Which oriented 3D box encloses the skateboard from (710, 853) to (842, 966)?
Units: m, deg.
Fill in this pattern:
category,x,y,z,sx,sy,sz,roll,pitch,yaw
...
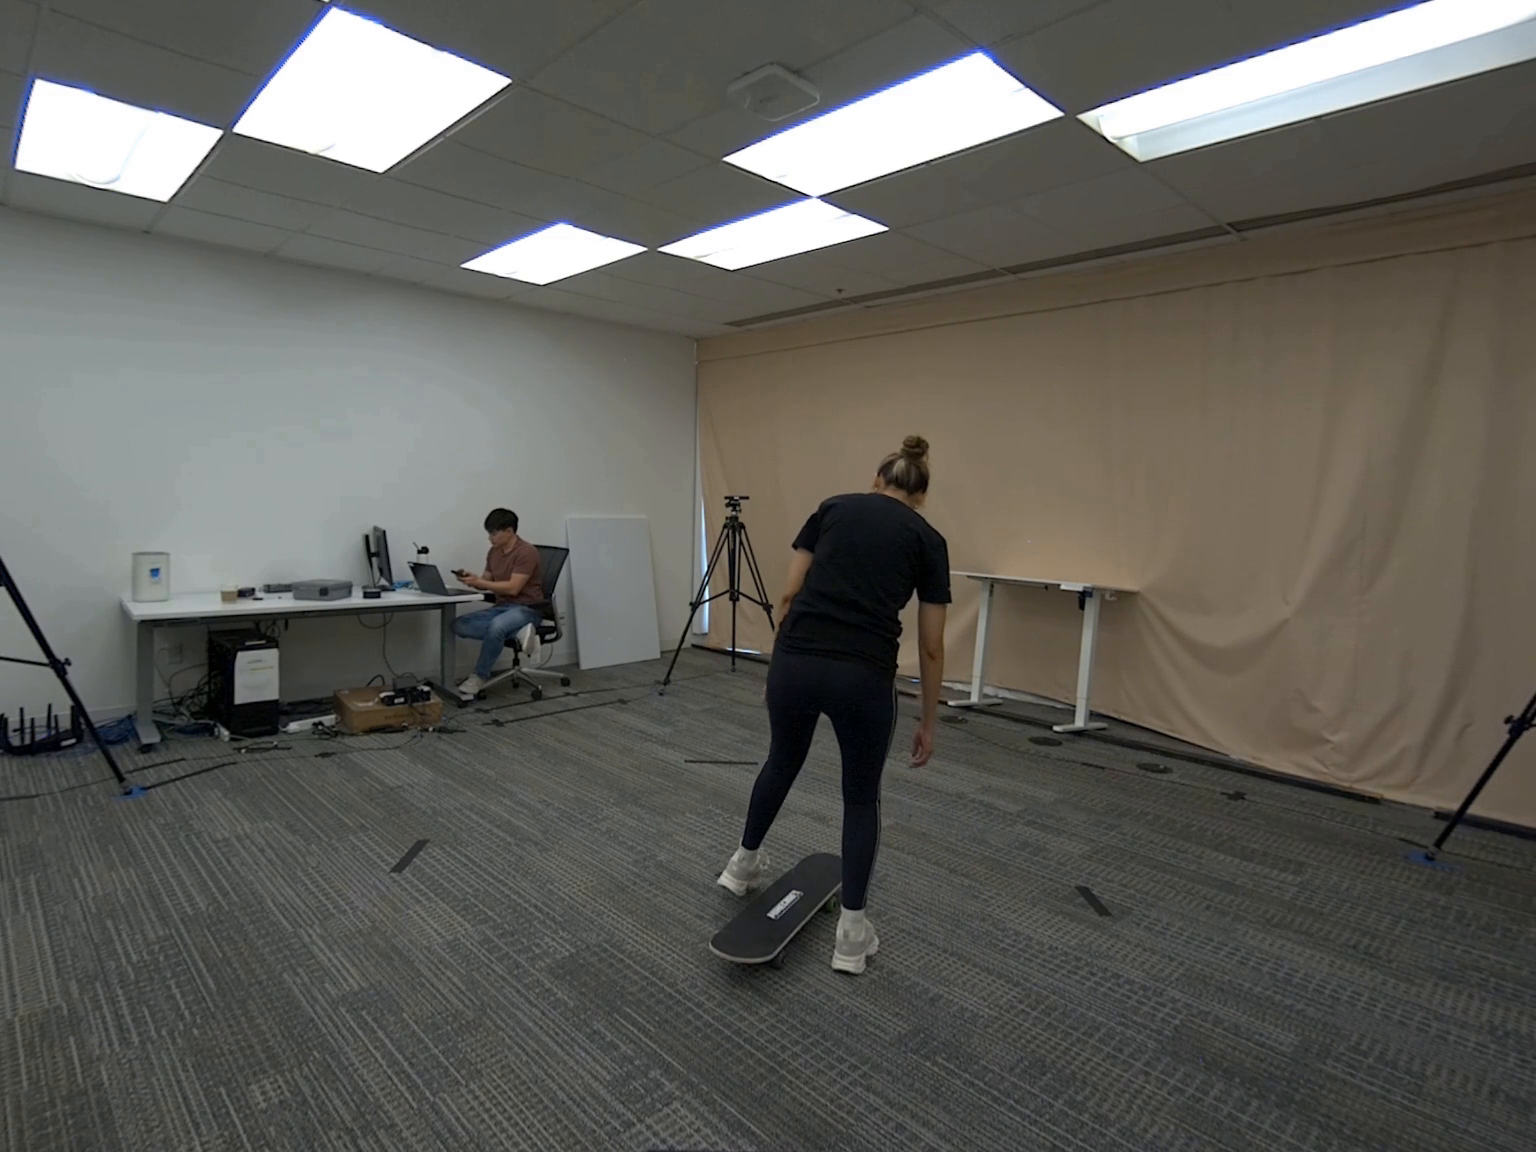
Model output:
category,x,y,z,sx,sy,sz,roll,pitch,yaw
skateboard,0.052,1.084,2.705,0.197,0.110,0.772,5,7,26
